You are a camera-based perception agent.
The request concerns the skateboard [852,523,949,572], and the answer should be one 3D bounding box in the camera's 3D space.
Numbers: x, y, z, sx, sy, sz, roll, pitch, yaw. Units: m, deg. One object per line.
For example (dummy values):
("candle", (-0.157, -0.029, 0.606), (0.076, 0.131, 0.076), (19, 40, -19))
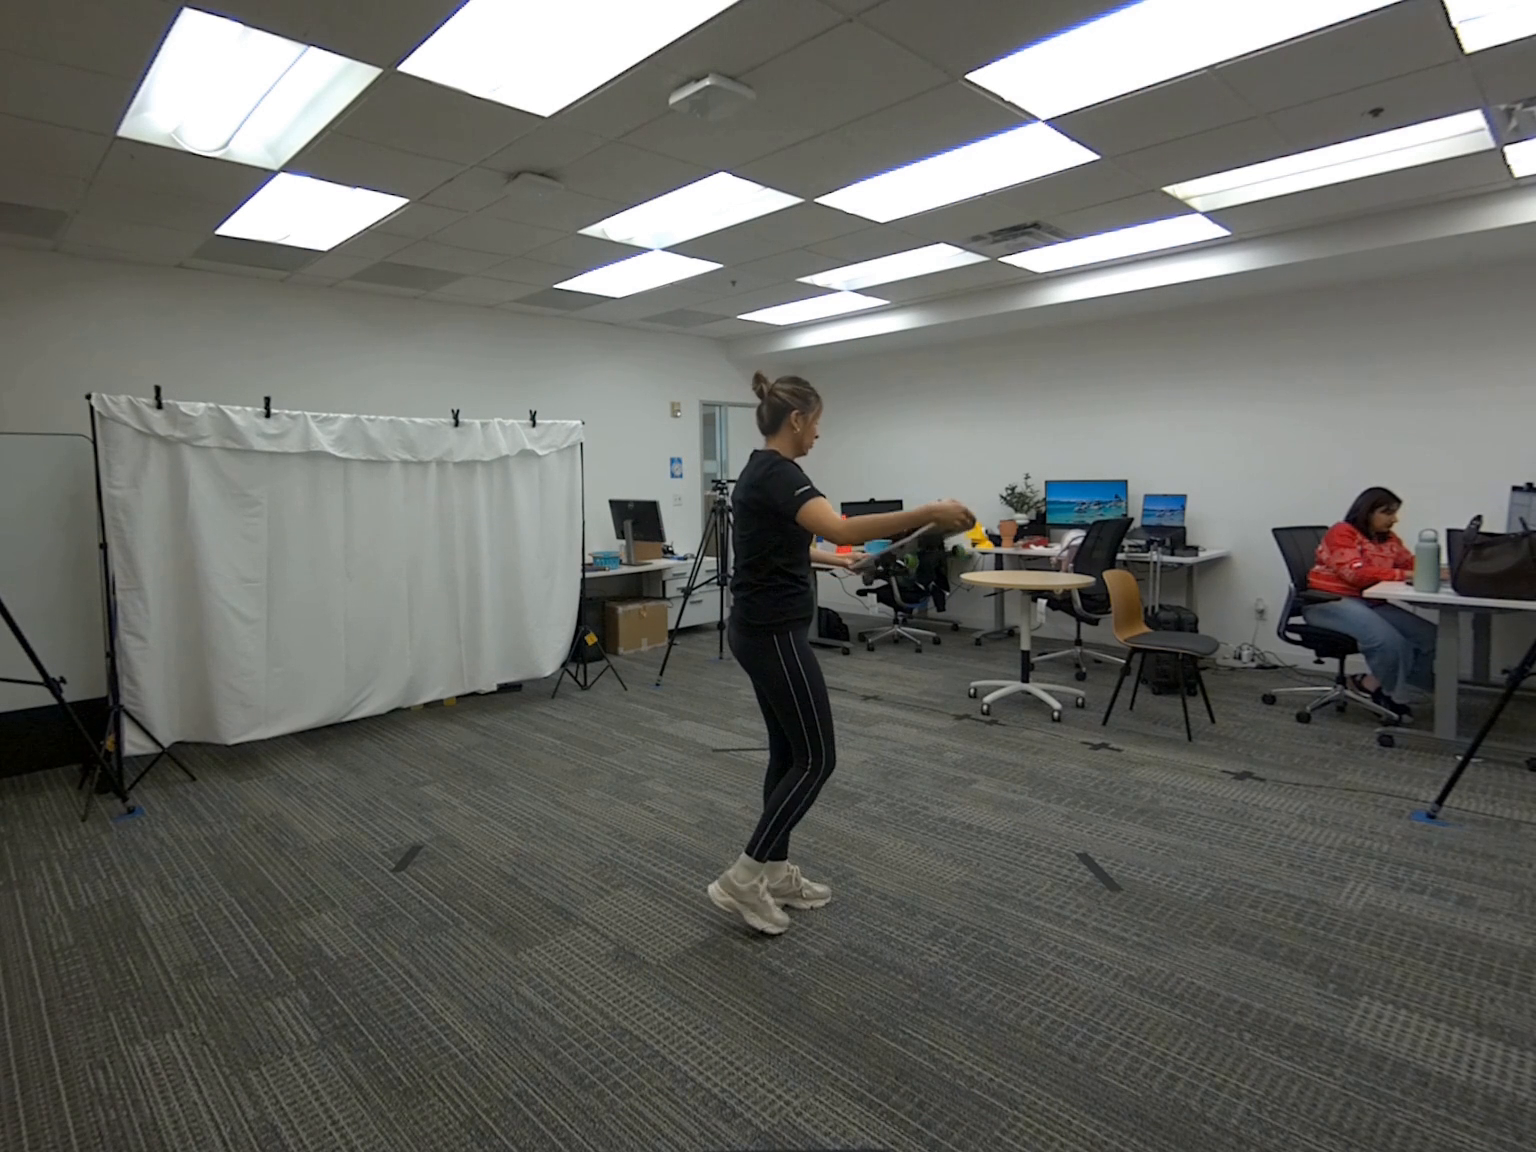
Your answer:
("skateboard", (0.441, -0.055, 2.743), (0.191, 0.111, 0.787), (-1, -8, -13))
